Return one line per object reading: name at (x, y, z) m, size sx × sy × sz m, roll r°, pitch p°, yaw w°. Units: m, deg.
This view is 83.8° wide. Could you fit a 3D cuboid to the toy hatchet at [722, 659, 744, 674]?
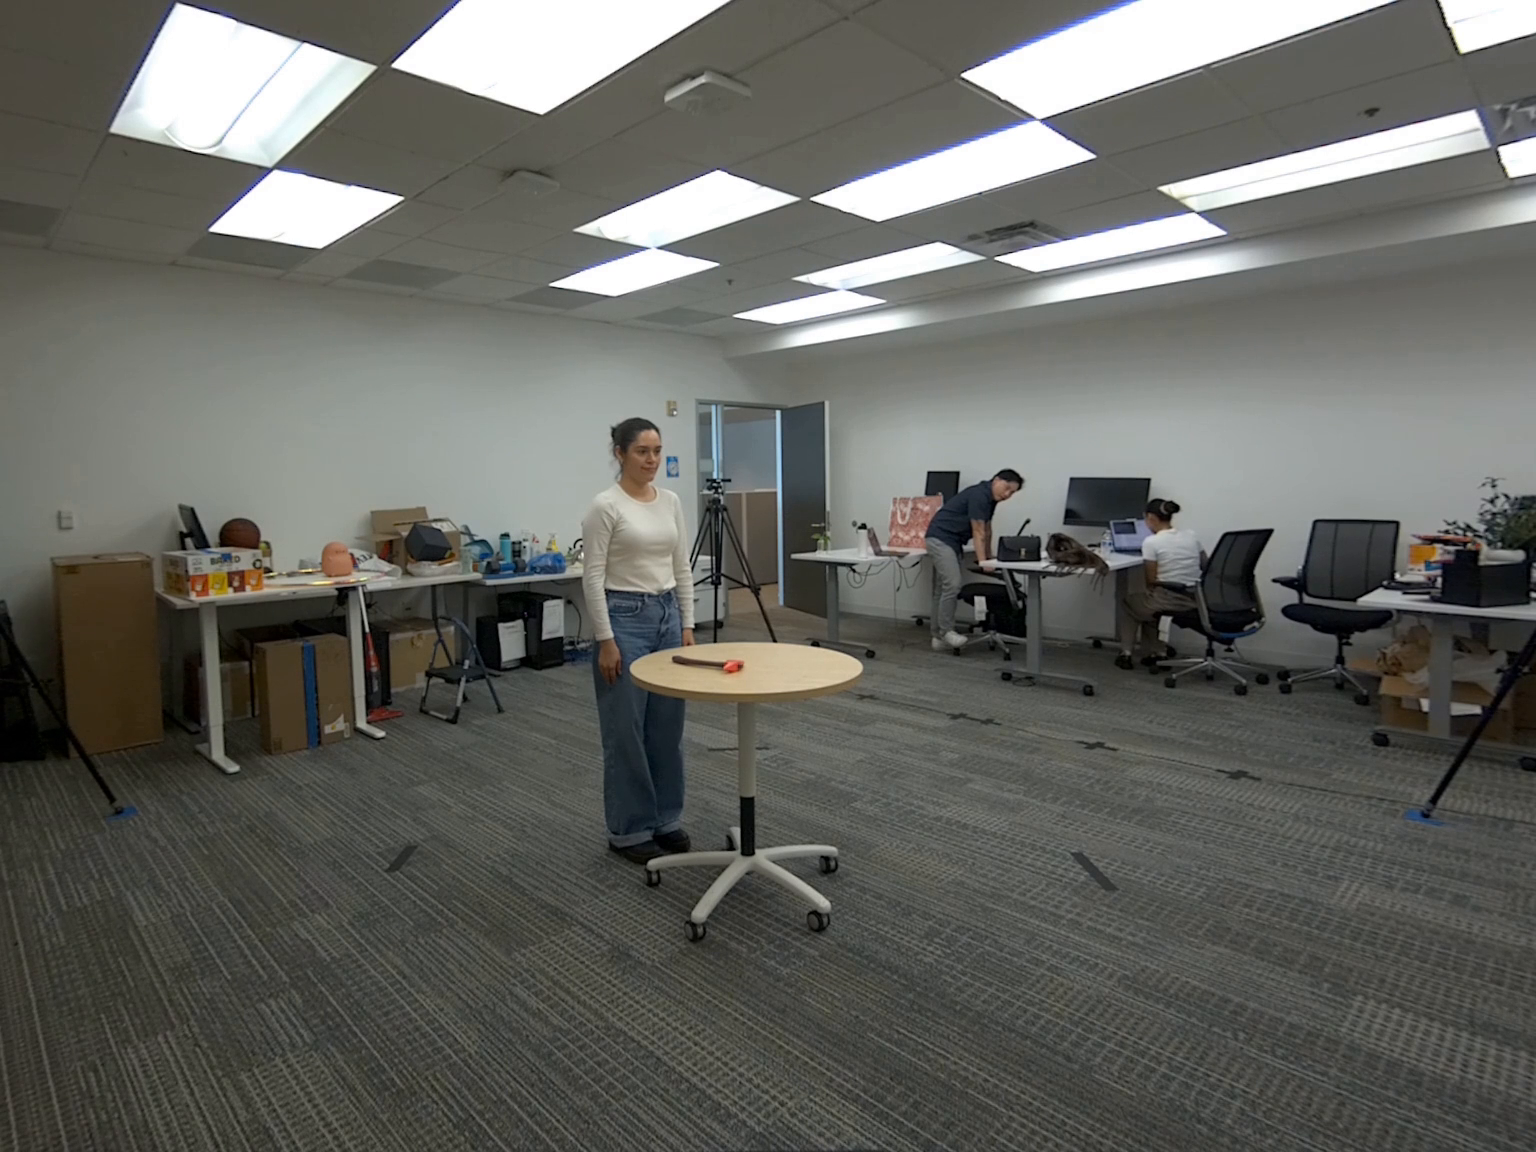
toy hatchet at (-0.187, 0.284, 2.813) m, size 0.278 × 0.029 × 0.127 m, roll 4°, pitch 6°, yaw 44°
